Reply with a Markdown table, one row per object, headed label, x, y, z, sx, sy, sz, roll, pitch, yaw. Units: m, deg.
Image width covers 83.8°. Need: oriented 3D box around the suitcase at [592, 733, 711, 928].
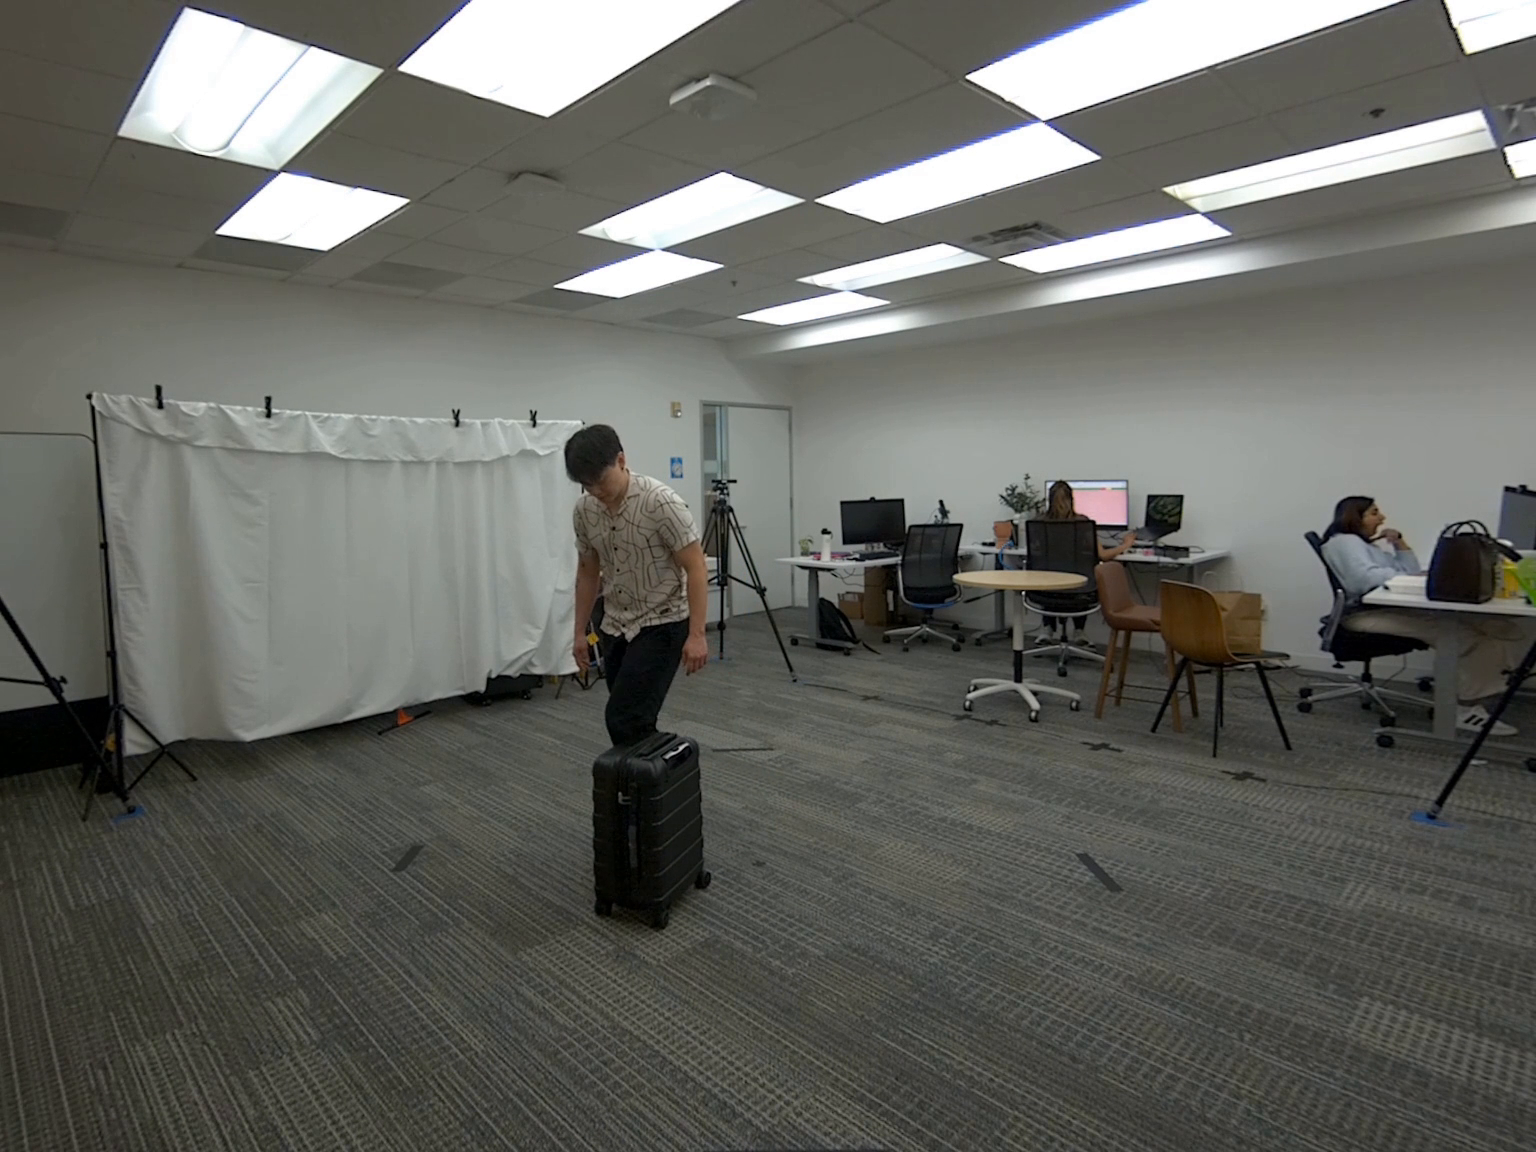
| label | x | y | z | sx | sy | sz | roll | pitch | yaw |
| --- | --- | --- | --- | --- | --- | --- | --- | --- | --- |
| suitcase | -0.383 | 0.811 | 2.816 | 0.253 | 0.546 | 0.370 | 0 | 6 | 22 |
